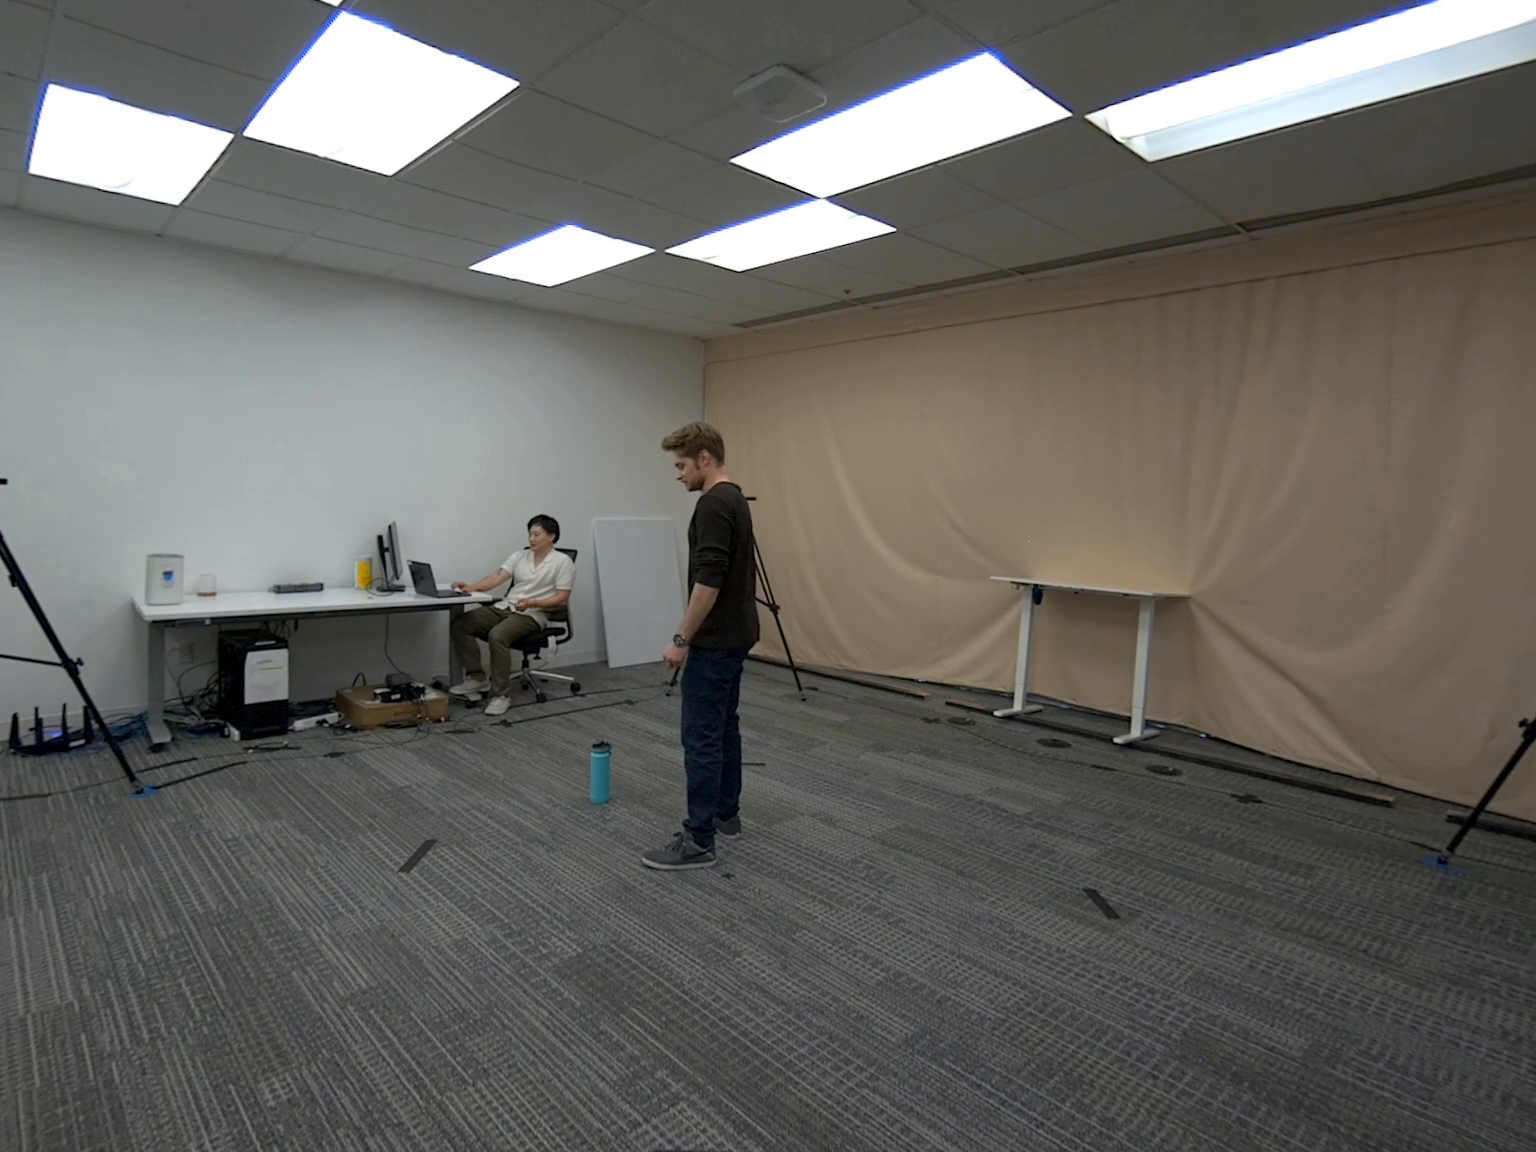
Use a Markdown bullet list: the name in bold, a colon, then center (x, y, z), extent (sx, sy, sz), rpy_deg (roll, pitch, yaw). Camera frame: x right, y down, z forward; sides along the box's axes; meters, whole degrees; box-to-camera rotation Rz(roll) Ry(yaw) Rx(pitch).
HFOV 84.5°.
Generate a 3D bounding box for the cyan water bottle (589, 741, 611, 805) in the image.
- **cyan water bottle**: center (-0.782, 0.889, 3.849), extent (0.092, 0.283, 0.092), rpy_deg (2, 3, -1)
